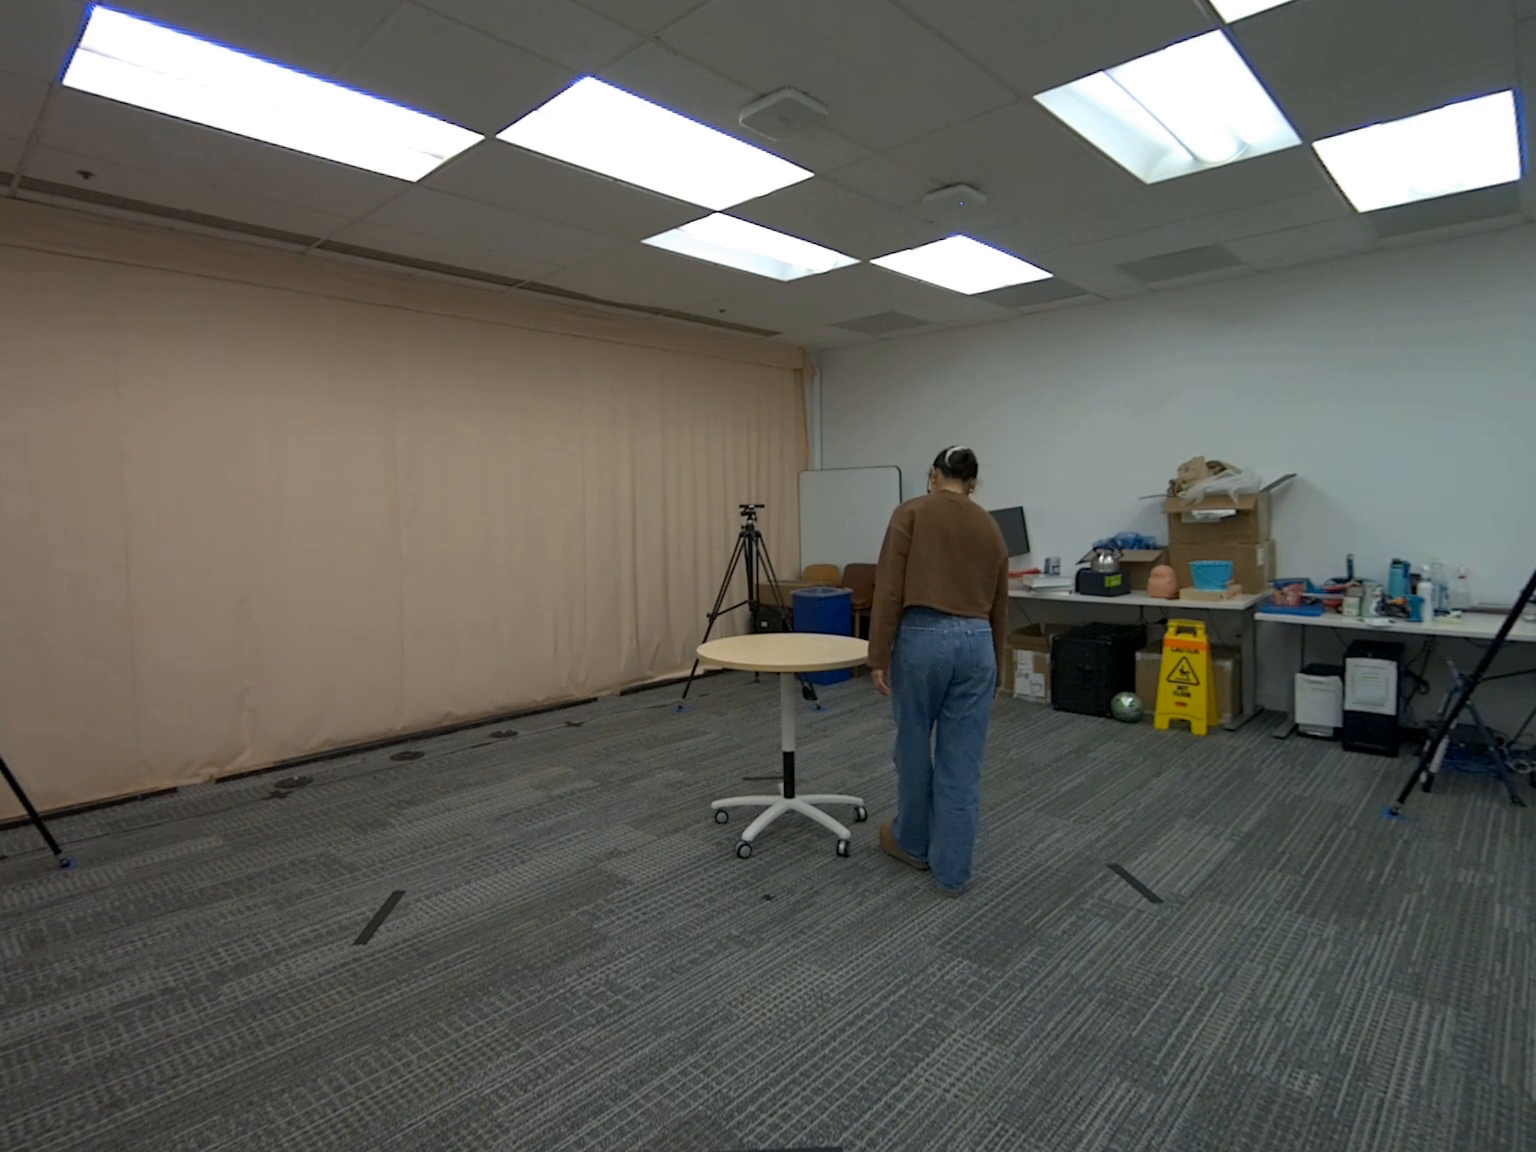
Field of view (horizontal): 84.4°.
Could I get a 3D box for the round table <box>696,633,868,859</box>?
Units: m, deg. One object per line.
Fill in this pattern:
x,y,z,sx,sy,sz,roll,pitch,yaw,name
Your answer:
0.089,0.697,3.582,0.763,0.792,0.766,-1,3,-2,round table
